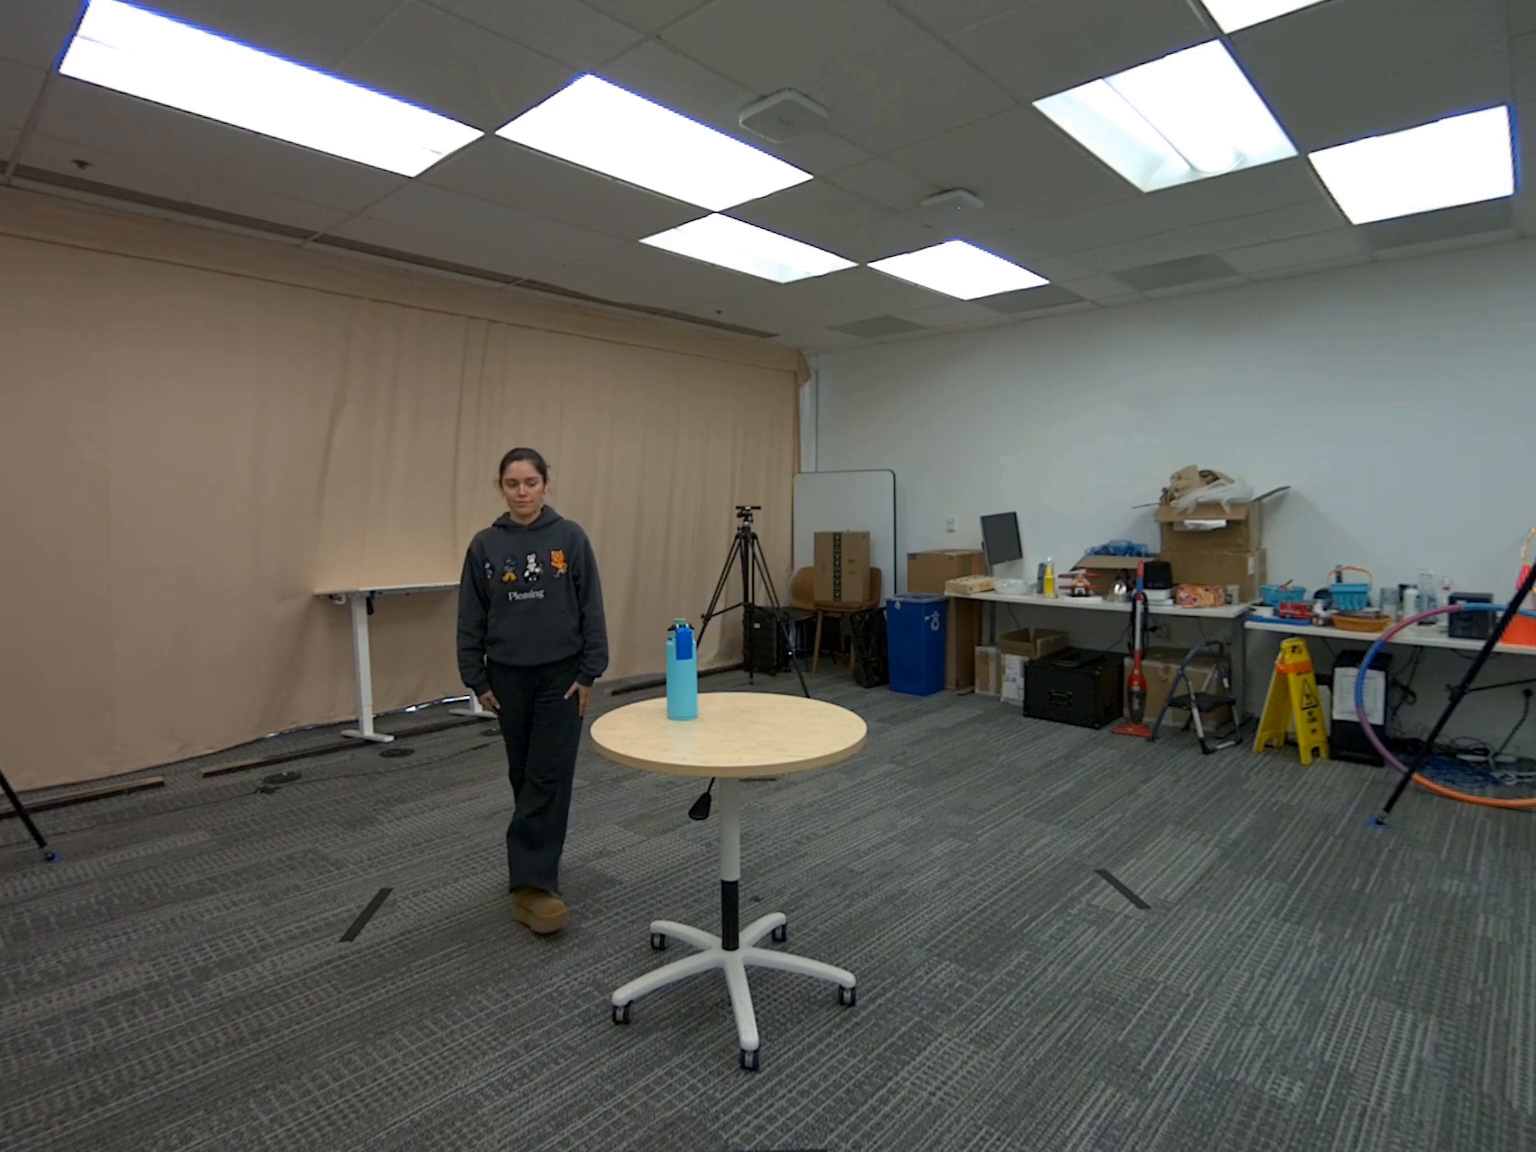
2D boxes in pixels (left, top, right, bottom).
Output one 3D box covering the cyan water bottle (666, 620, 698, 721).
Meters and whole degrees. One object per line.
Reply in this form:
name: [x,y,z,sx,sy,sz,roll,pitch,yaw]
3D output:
cyan water bottle: [-0.238,0.272,2.426,0.092,0.283,0.092,0,3,-2]
